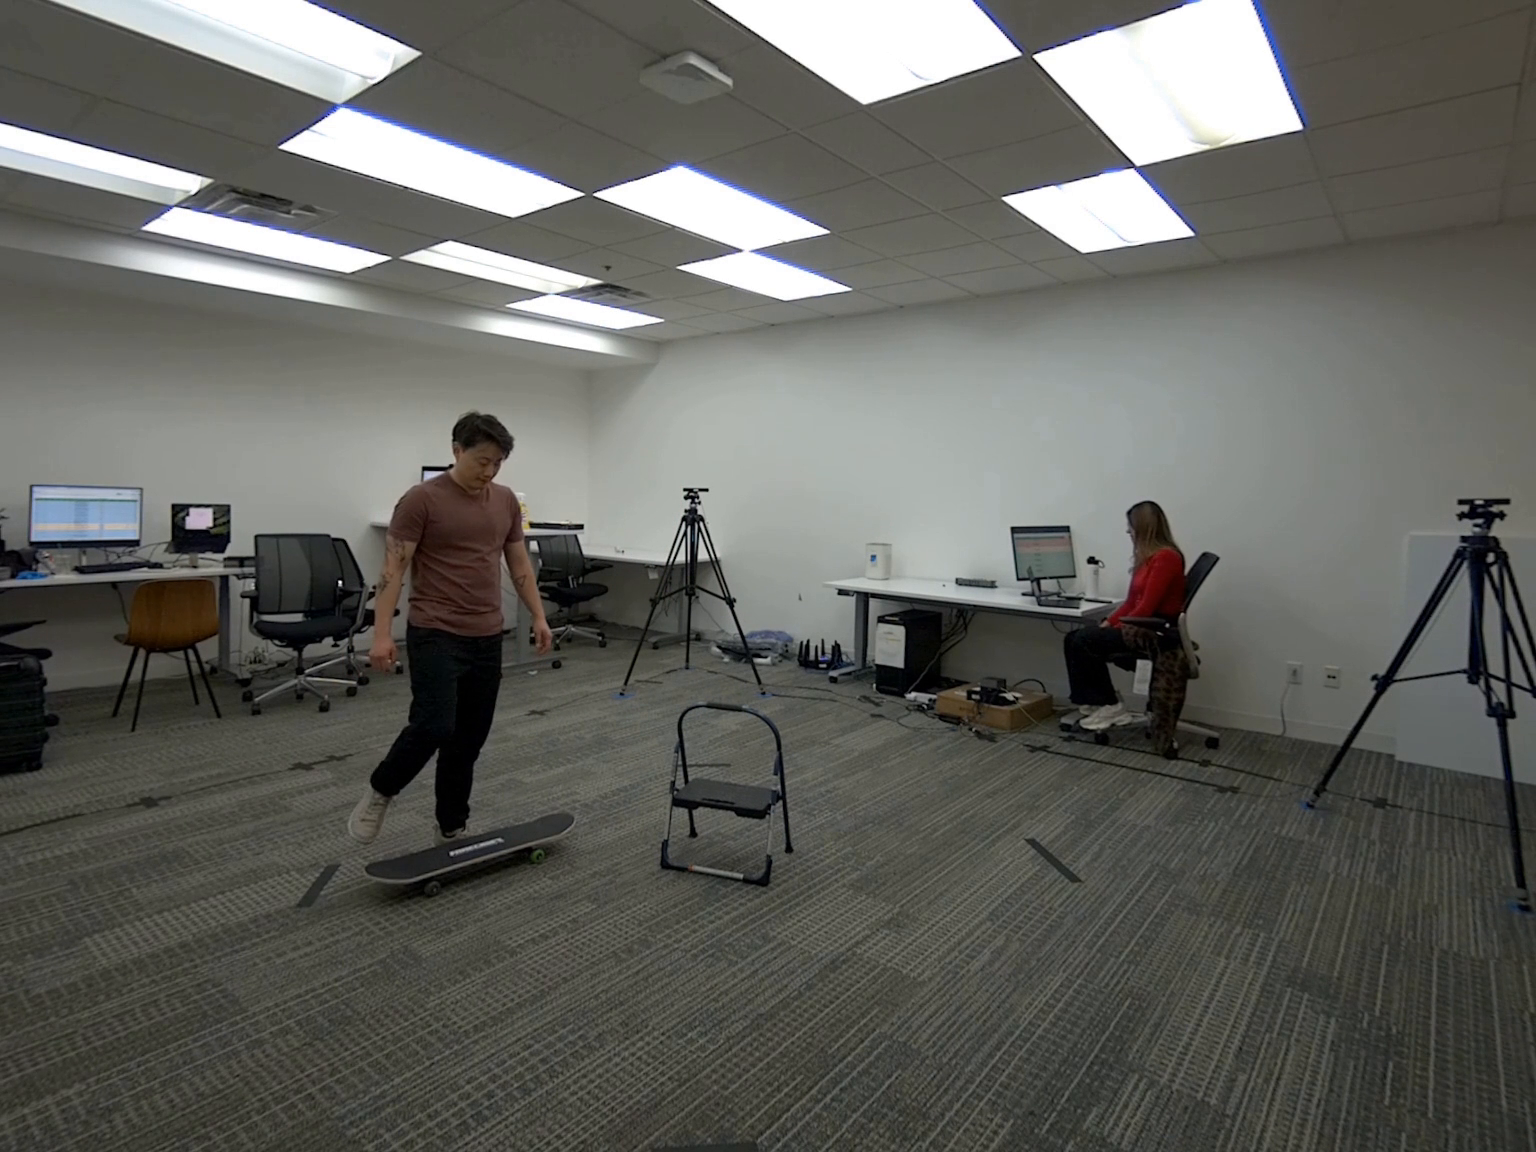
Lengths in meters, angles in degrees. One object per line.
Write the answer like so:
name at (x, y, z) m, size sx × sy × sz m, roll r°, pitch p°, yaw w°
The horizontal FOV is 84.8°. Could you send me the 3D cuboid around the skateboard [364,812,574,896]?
skateboard at (-1.060, 1.011, 3.069) m, size 0.762 × 0.110 × 0.200 m, roll -5°, pitch 7°, yaw -41°
